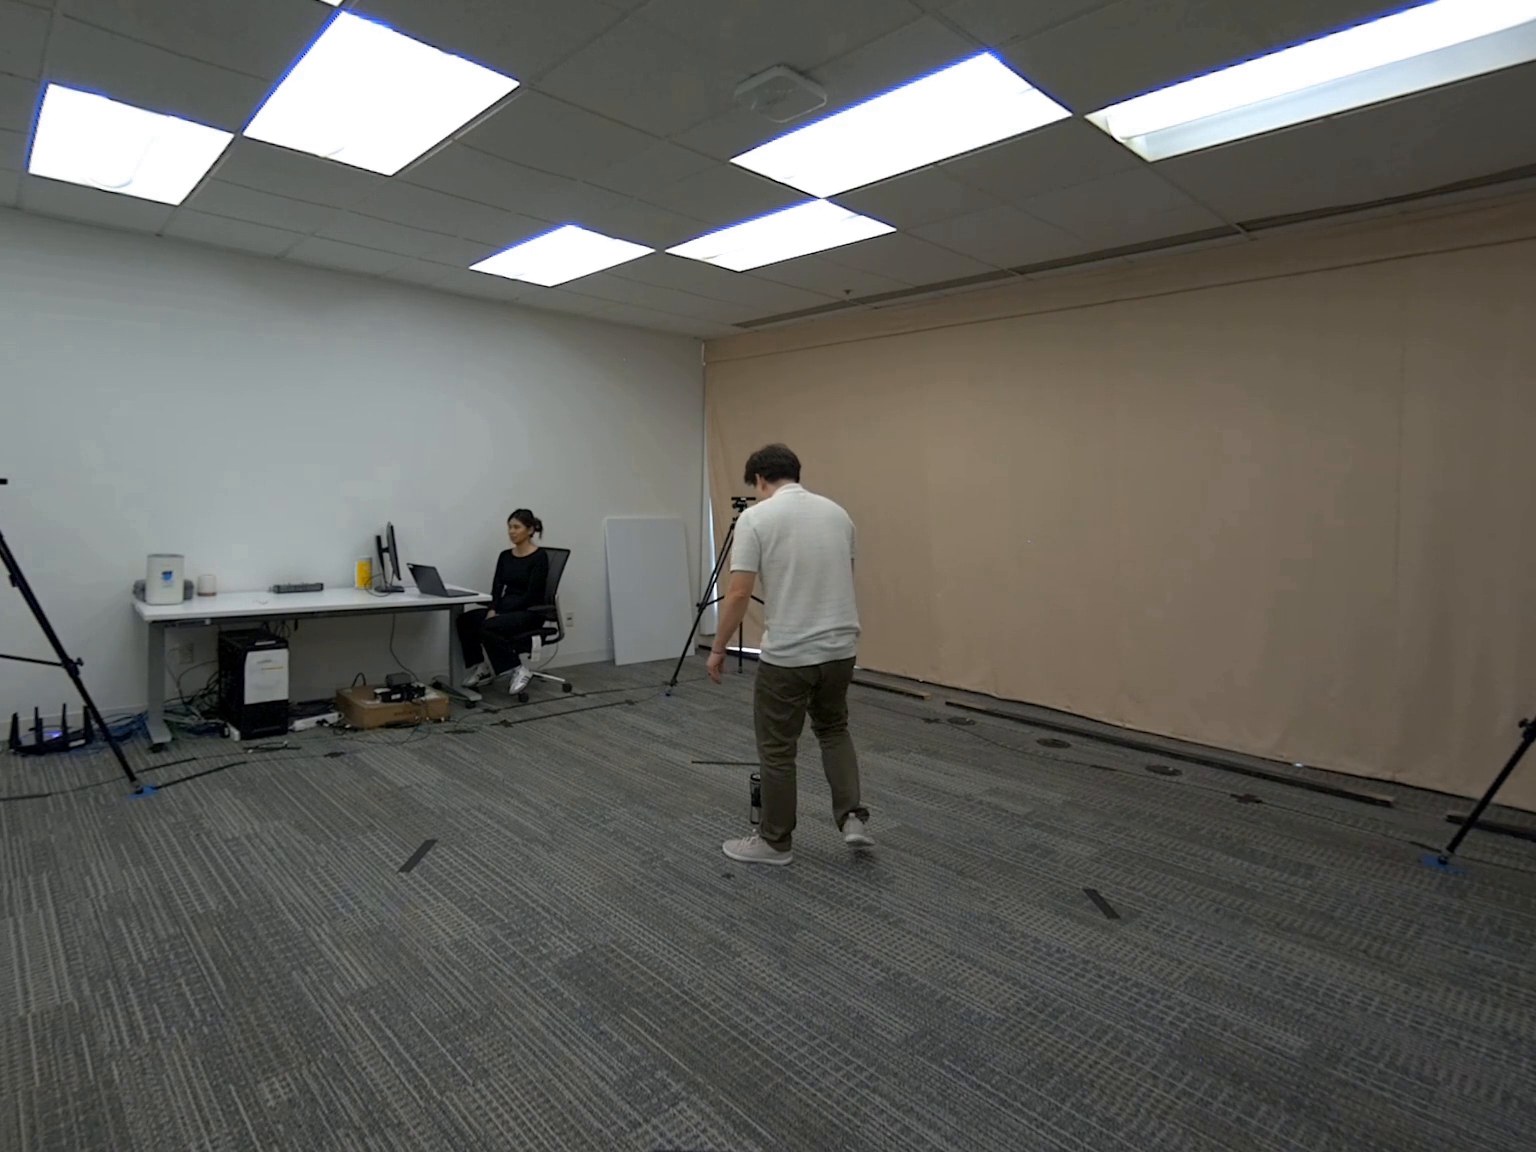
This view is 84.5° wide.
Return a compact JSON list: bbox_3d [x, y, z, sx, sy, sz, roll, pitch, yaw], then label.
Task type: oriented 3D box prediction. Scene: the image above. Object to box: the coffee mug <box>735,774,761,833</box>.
[{"bbox_3d":[-0.057,0.969,3.620,0.090,0.203,0.119,8,3,37],"label":"coffee mug"}]
